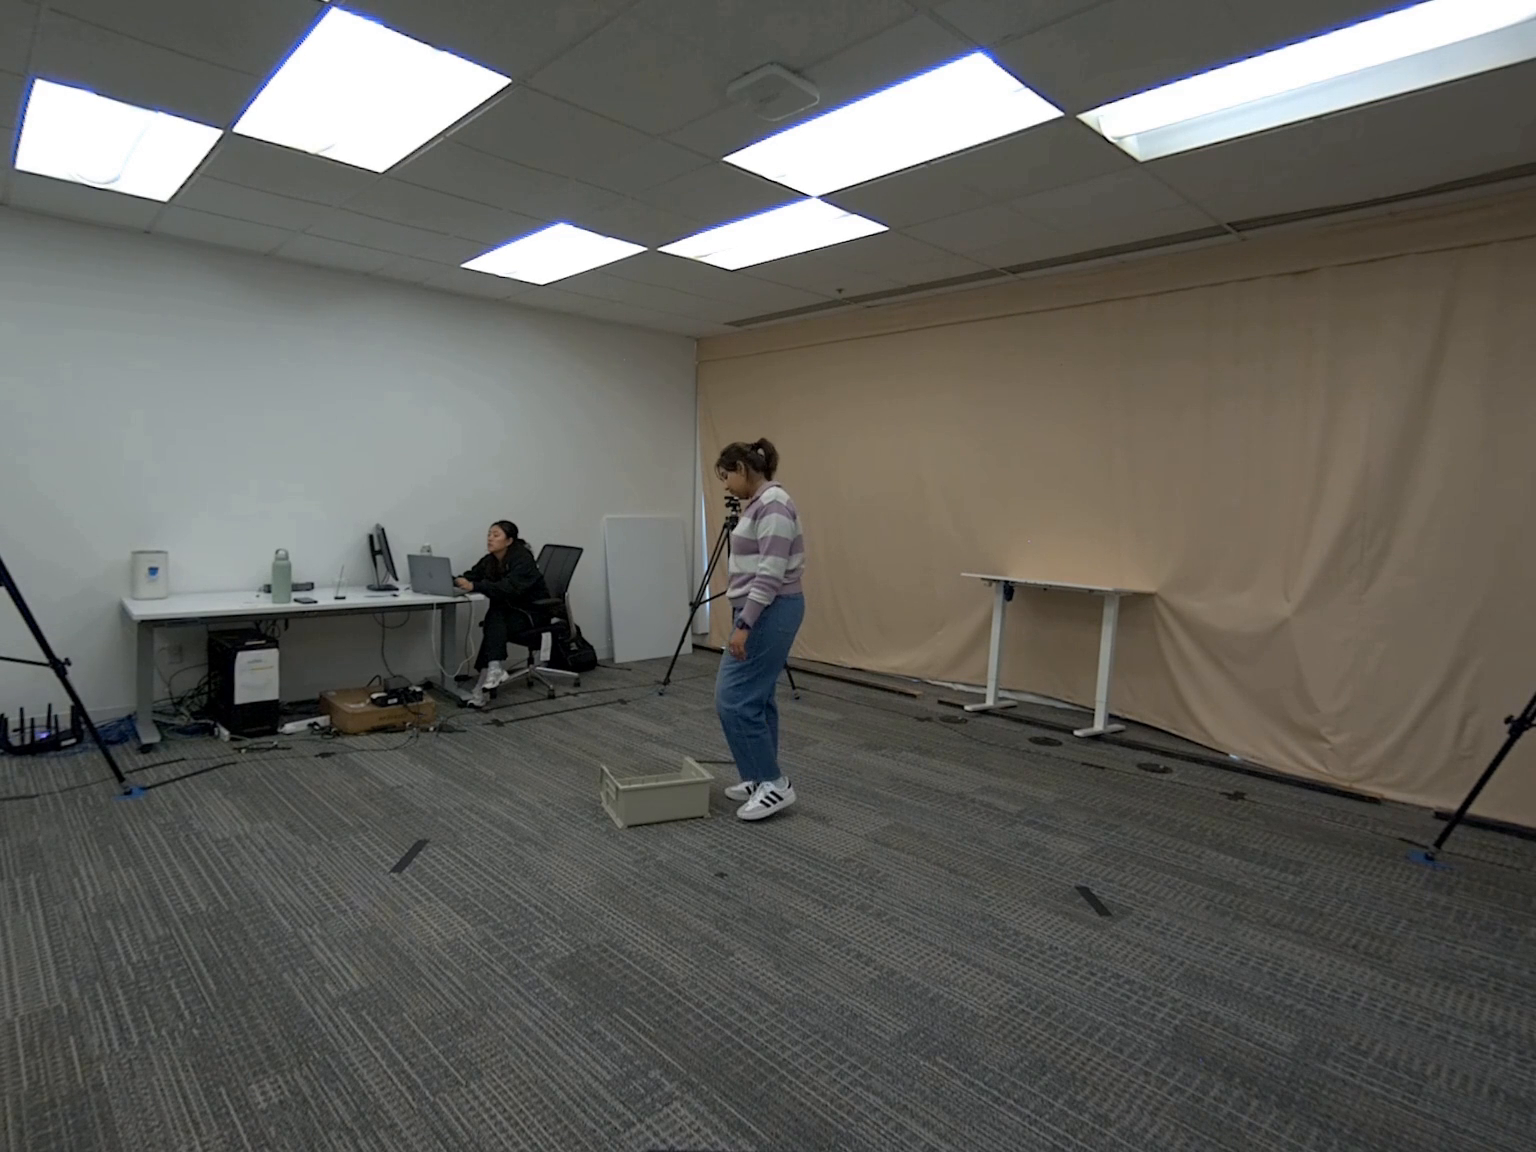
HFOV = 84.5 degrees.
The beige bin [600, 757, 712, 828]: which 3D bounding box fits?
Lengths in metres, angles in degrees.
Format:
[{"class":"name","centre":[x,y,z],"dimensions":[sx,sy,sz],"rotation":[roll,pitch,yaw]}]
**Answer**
[{"class":"beige bin","centre":[-0.515,0.949,3.746],"dimensions":[0.415,0.188,0.385],"rotation":[0,6,-25]}]
